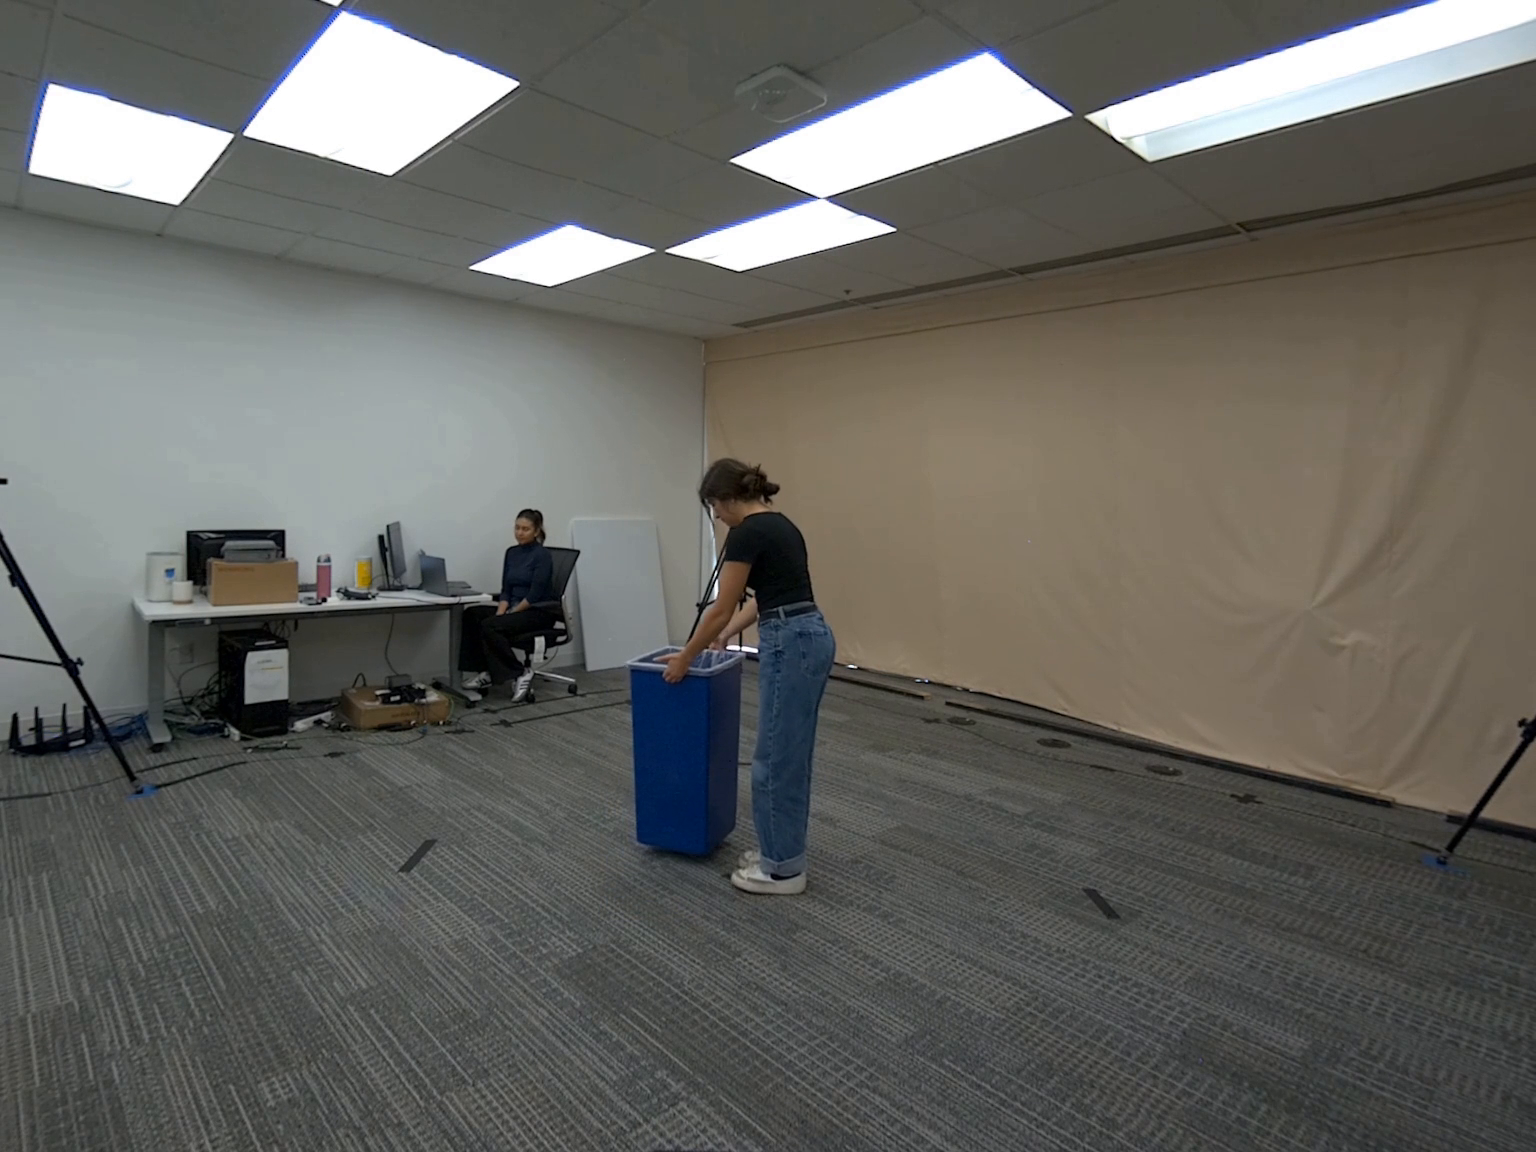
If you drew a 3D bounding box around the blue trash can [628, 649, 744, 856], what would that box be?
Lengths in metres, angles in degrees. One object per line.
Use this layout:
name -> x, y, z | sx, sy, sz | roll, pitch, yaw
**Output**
blue trash can -> -0.325, 0.673, 3.307 | 0.384, 0.712, 0.368 | 2, 4, 22
